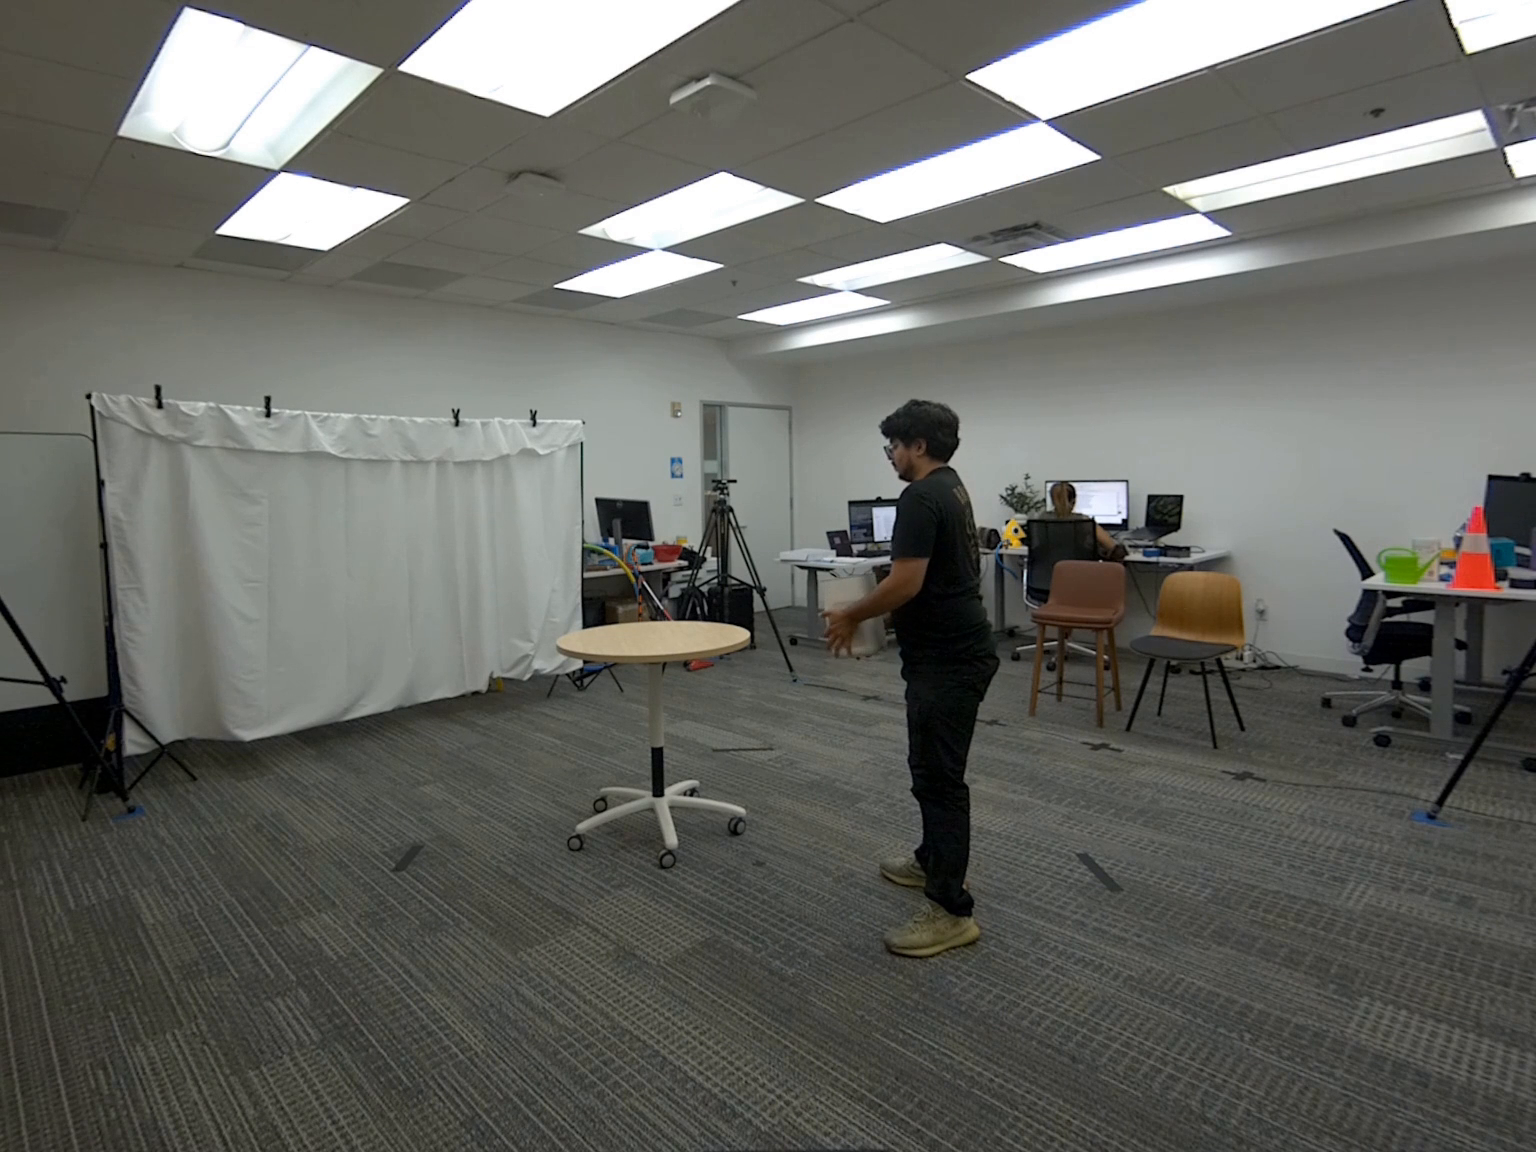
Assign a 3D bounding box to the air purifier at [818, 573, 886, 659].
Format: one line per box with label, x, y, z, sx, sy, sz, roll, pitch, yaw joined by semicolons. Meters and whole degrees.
air purifier;0.299;0.132;2.852;0.177;0.263;0.164;-10;-3;27
